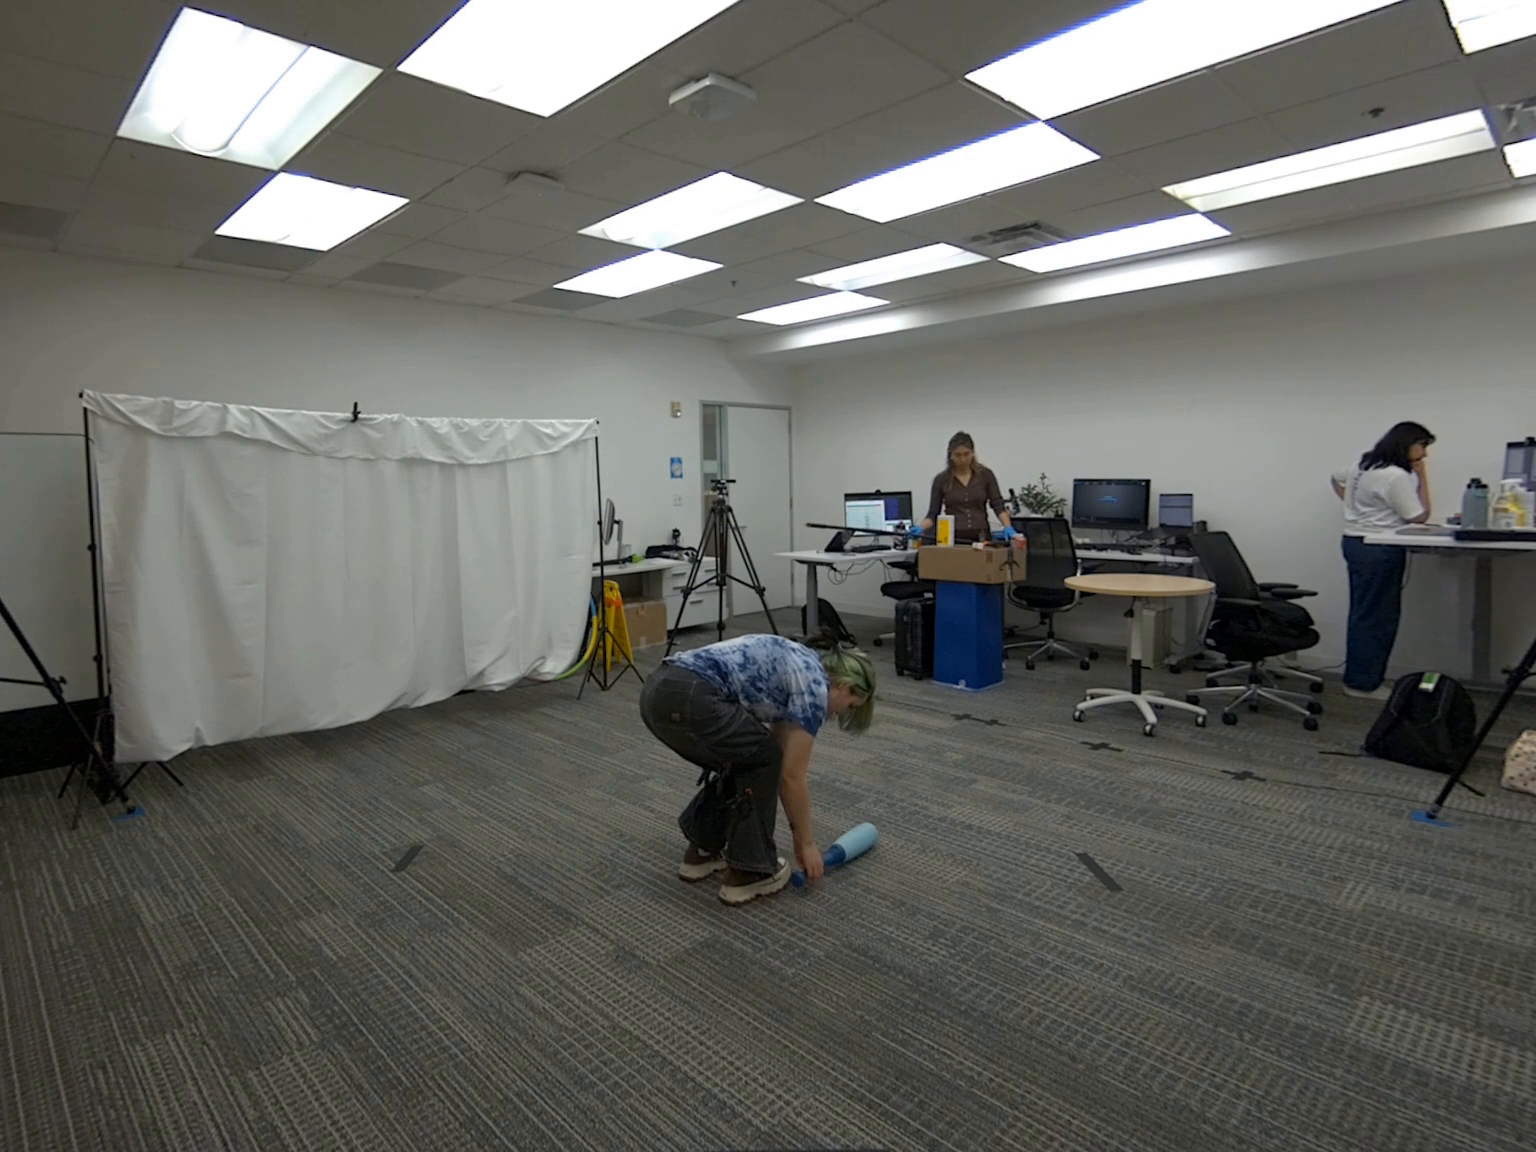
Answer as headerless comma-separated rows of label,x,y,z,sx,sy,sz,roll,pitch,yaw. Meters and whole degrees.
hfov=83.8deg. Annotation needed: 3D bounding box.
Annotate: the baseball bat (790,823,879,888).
baseball bat,0.246,0.997,3.036,0.091,0.089,0.530,2,6,32
